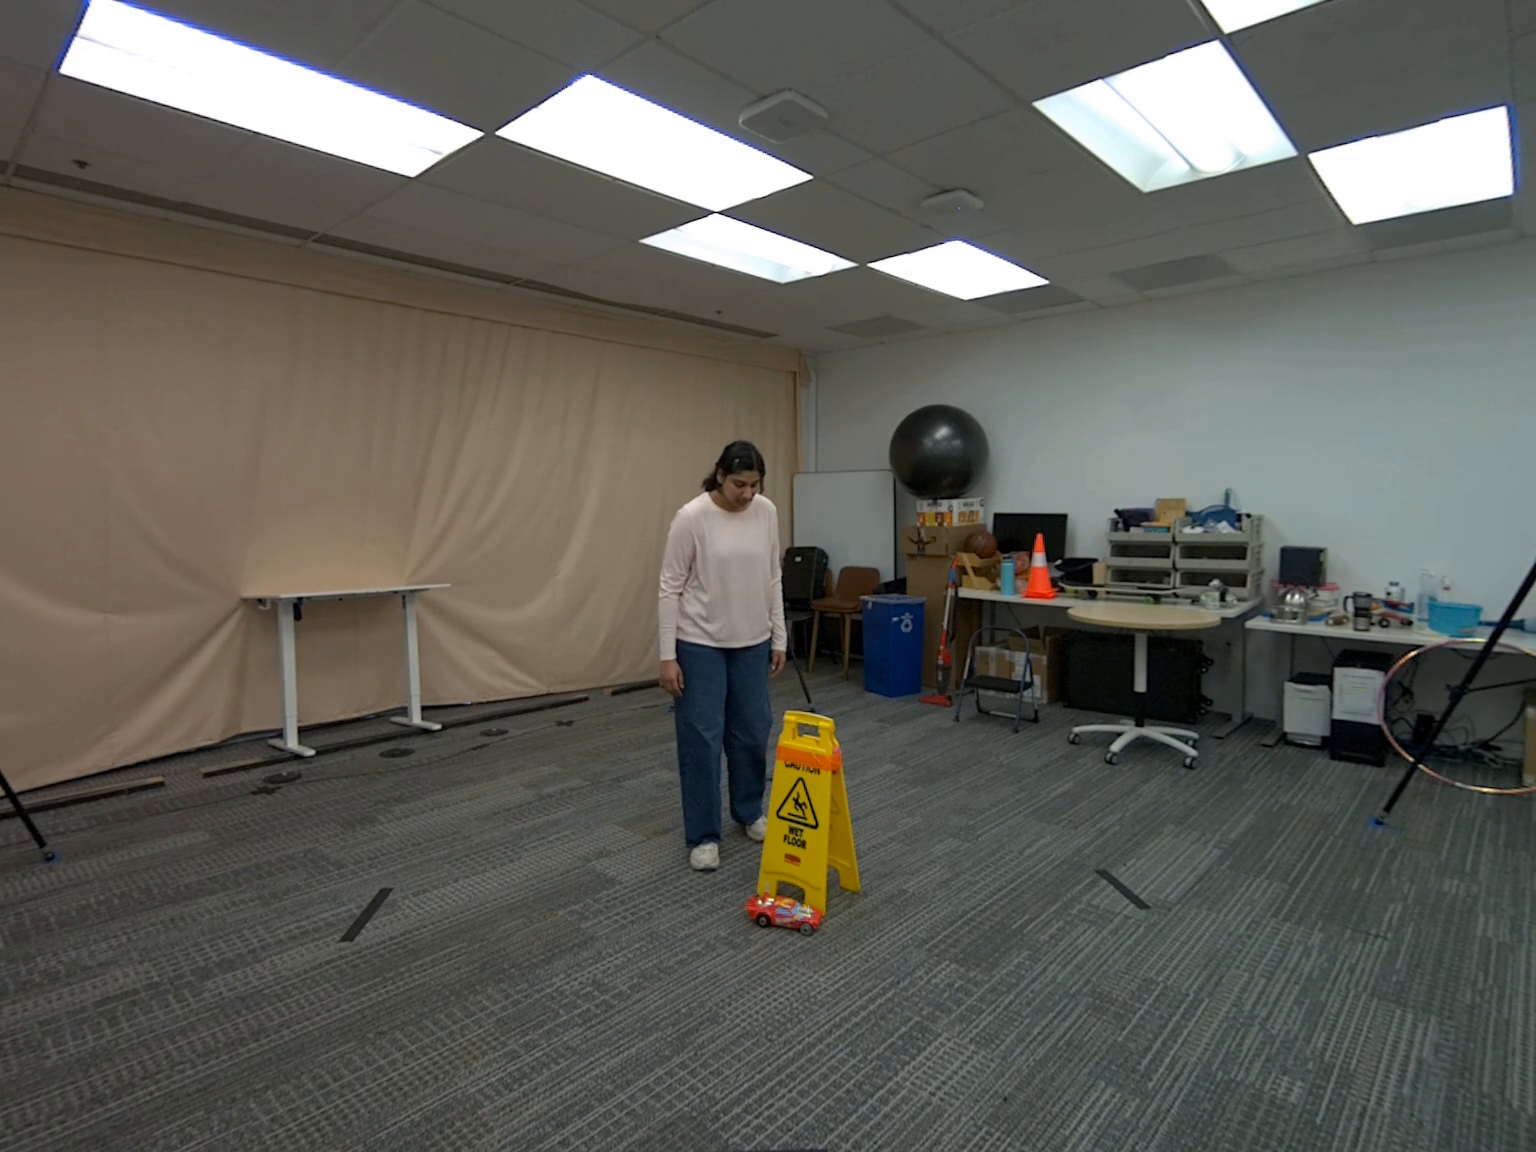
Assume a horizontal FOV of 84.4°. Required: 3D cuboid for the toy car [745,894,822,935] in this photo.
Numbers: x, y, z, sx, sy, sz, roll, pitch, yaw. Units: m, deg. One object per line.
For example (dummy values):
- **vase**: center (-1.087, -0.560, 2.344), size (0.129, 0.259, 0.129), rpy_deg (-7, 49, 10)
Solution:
- **toy car**: center (0.048, 1.124, 2.814), size (0.260, 0.083, 0.128), rpy_deg (13, 11, 18)
